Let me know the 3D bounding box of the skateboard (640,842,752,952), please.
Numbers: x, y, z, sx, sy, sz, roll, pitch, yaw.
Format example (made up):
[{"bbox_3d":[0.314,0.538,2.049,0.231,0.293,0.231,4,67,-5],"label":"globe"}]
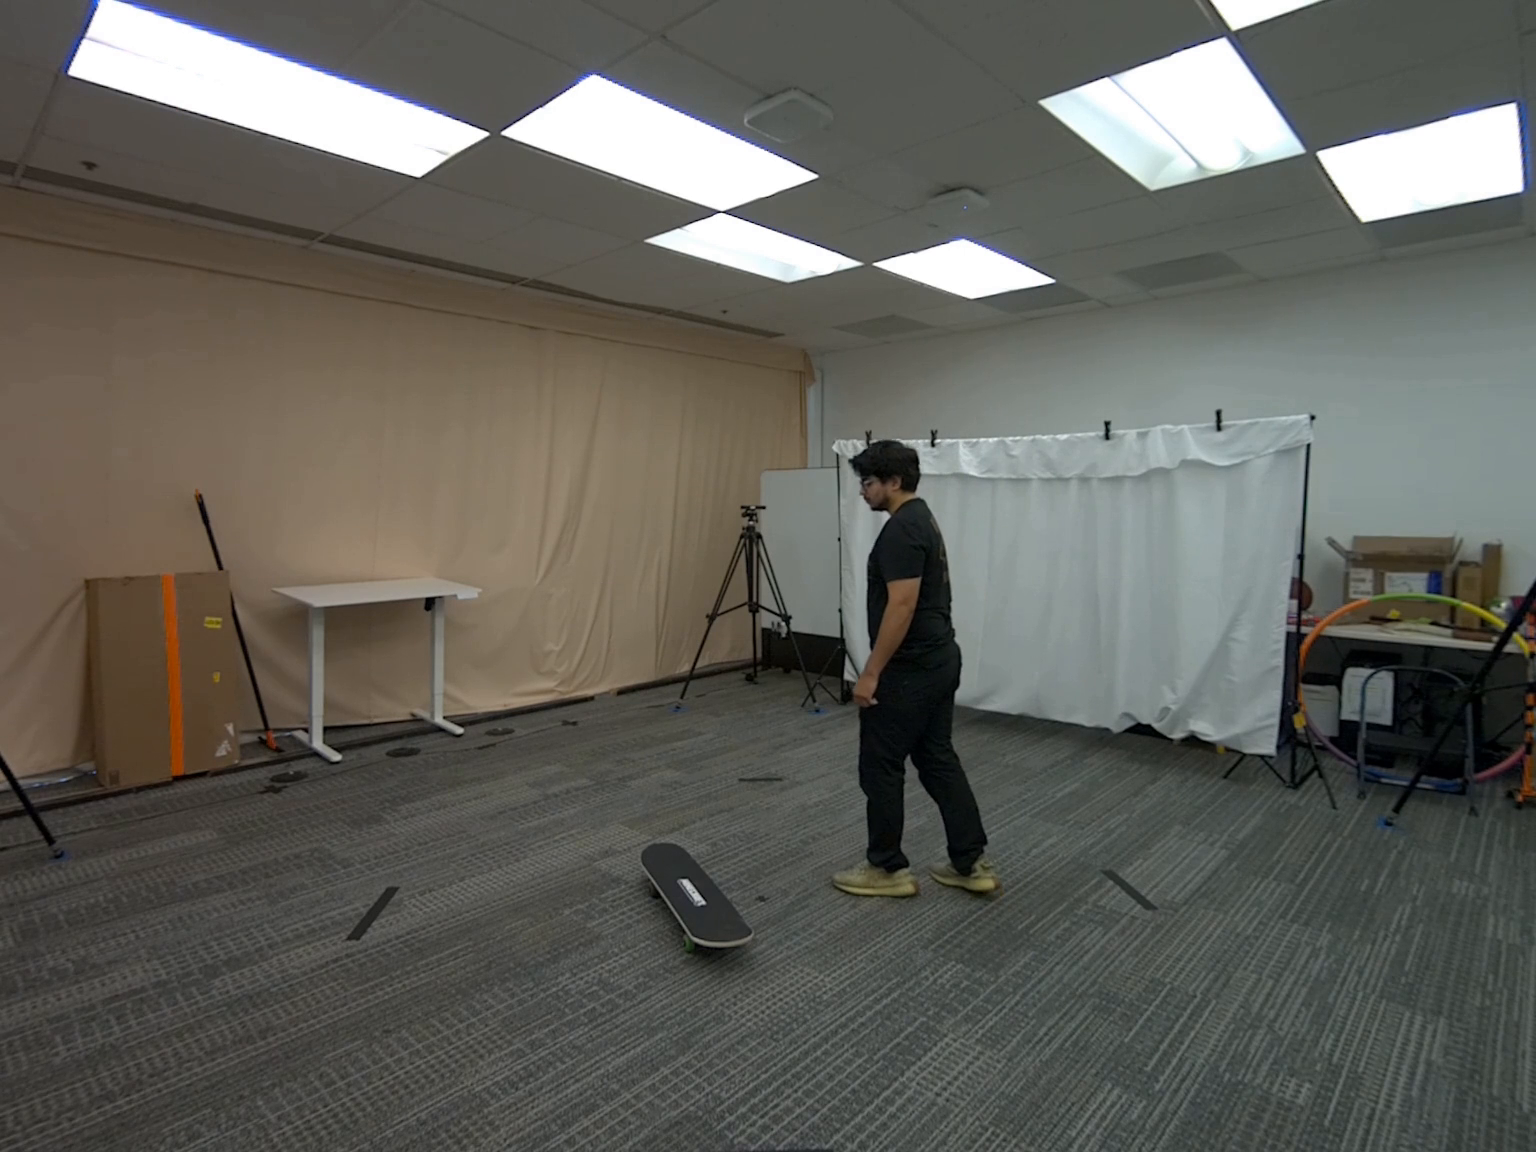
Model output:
[{"bbox_3d":[-0.254,1.099,2.849,0.189,0.110,0.804,-1,5,-23],"label":"skateboard"}]
